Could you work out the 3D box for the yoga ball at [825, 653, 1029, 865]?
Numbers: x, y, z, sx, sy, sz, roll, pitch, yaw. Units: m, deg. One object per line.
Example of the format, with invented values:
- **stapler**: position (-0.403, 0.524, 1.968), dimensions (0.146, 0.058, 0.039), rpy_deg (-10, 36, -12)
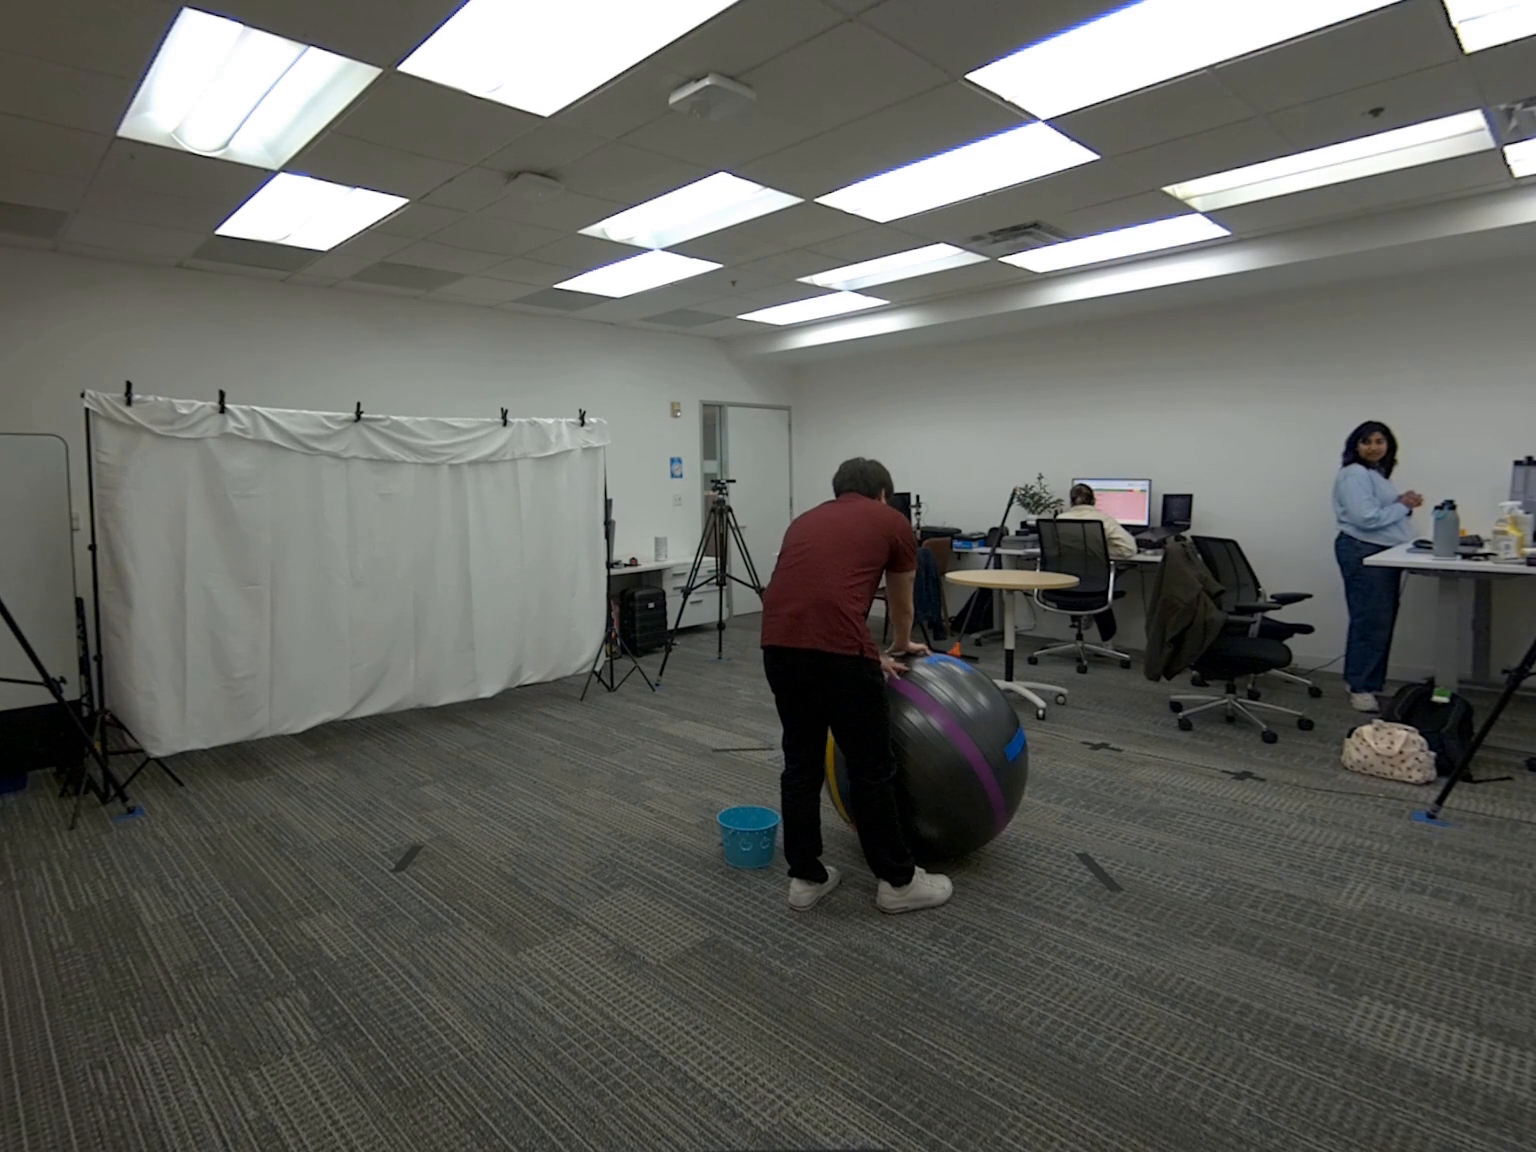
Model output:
- **yoga ball**: position (0.581, 0.669, 3.202), dimensions (0.757, 0.755, 0.762), rpy_deg (-1, 5, -2)
